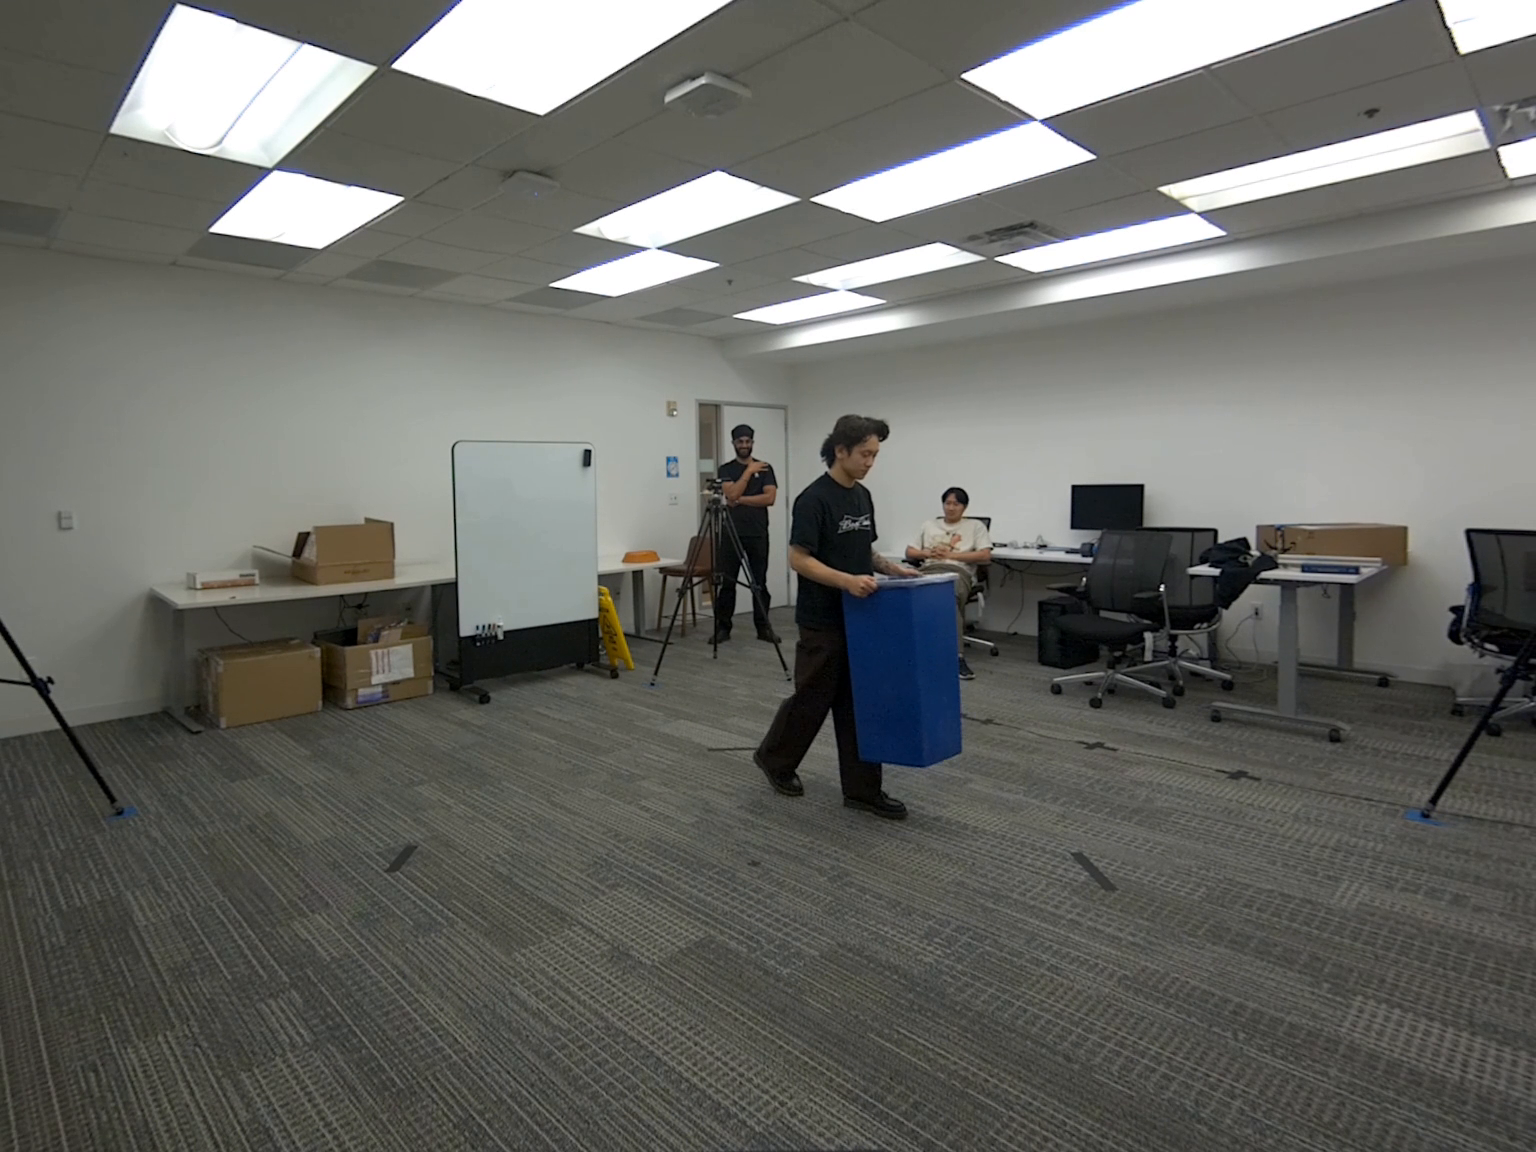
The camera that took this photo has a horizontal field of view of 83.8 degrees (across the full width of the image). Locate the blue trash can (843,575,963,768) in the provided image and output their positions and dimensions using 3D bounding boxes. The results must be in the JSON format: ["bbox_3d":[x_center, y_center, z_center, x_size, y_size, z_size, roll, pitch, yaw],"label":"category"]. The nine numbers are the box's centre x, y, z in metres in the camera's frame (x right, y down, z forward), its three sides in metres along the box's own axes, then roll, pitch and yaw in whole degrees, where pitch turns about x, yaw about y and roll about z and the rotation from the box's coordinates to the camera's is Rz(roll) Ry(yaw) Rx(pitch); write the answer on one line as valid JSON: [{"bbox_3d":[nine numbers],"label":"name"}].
[{"bbox_3d":[0.548,0.366,3.417,0.388,0.715,0.363,-6,-3,42],"label":"blue trash can"}]
